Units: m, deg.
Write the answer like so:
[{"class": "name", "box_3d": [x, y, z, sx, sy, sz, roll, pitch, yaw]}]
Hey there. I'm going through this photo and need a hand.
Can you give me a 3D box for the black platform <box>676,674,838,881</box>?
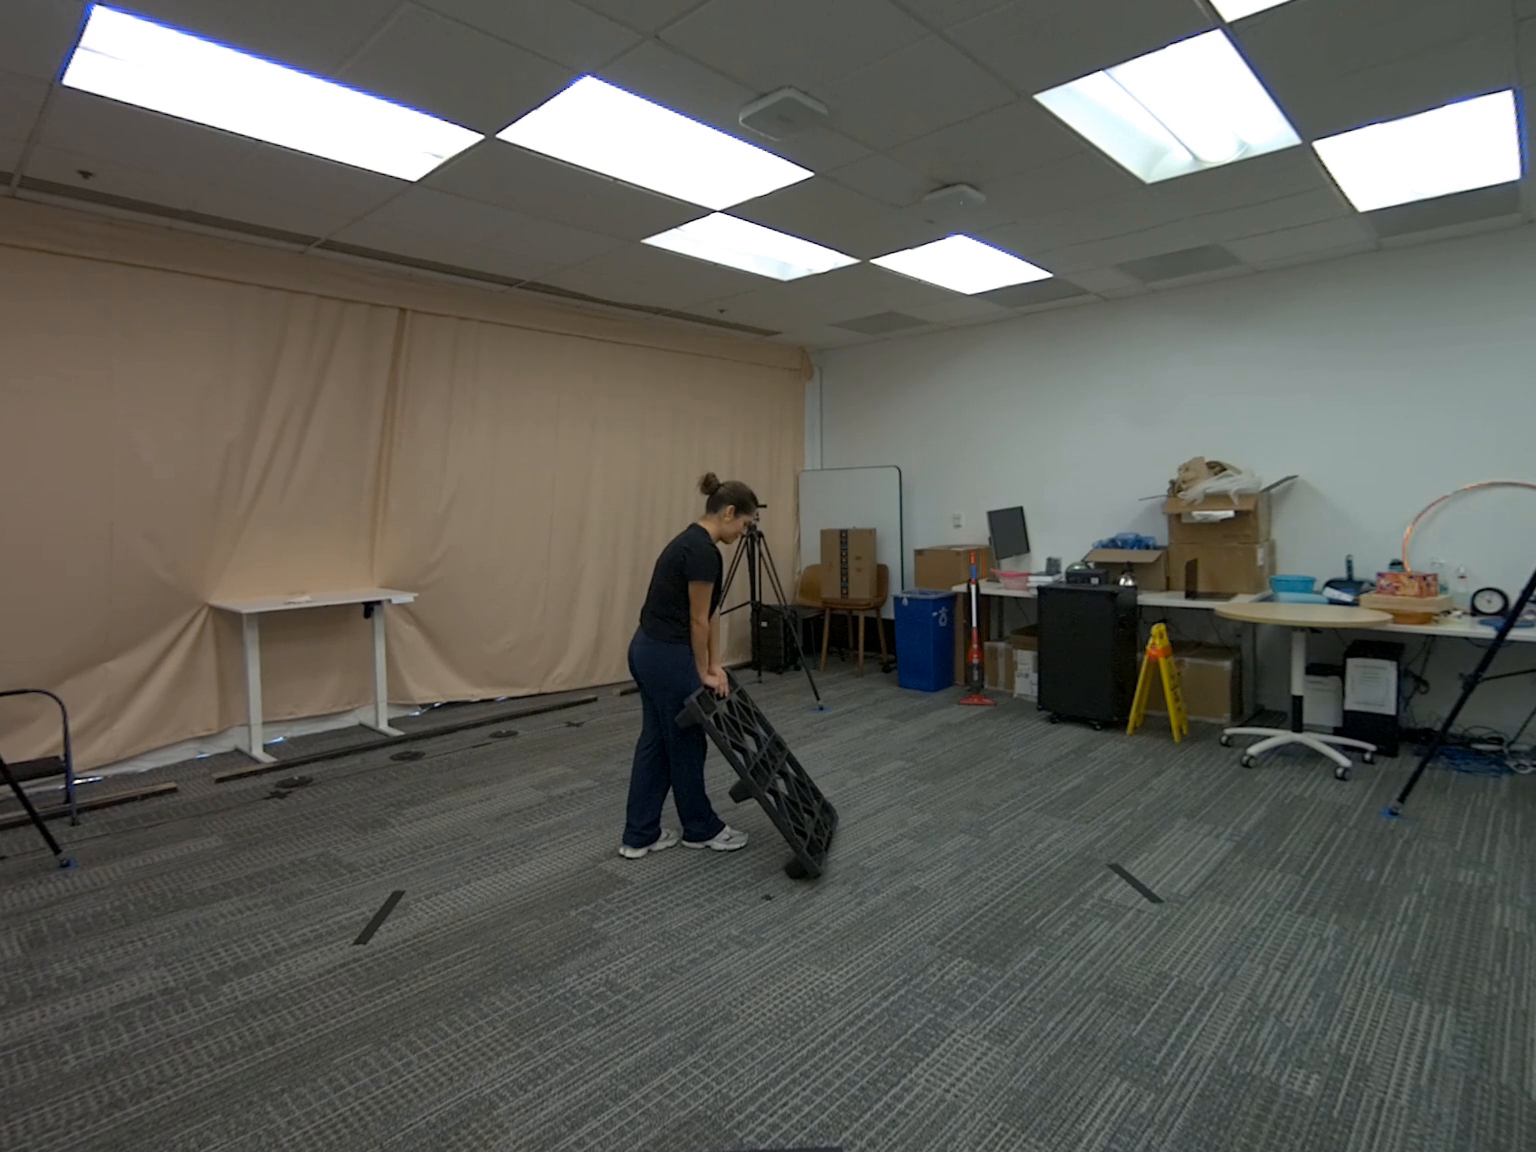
[{"class": "black platform", "box_3d": [-0.027, 0.778, 3.372, 0.144, 0.811, 0.598, -38, -5, 11]}]
